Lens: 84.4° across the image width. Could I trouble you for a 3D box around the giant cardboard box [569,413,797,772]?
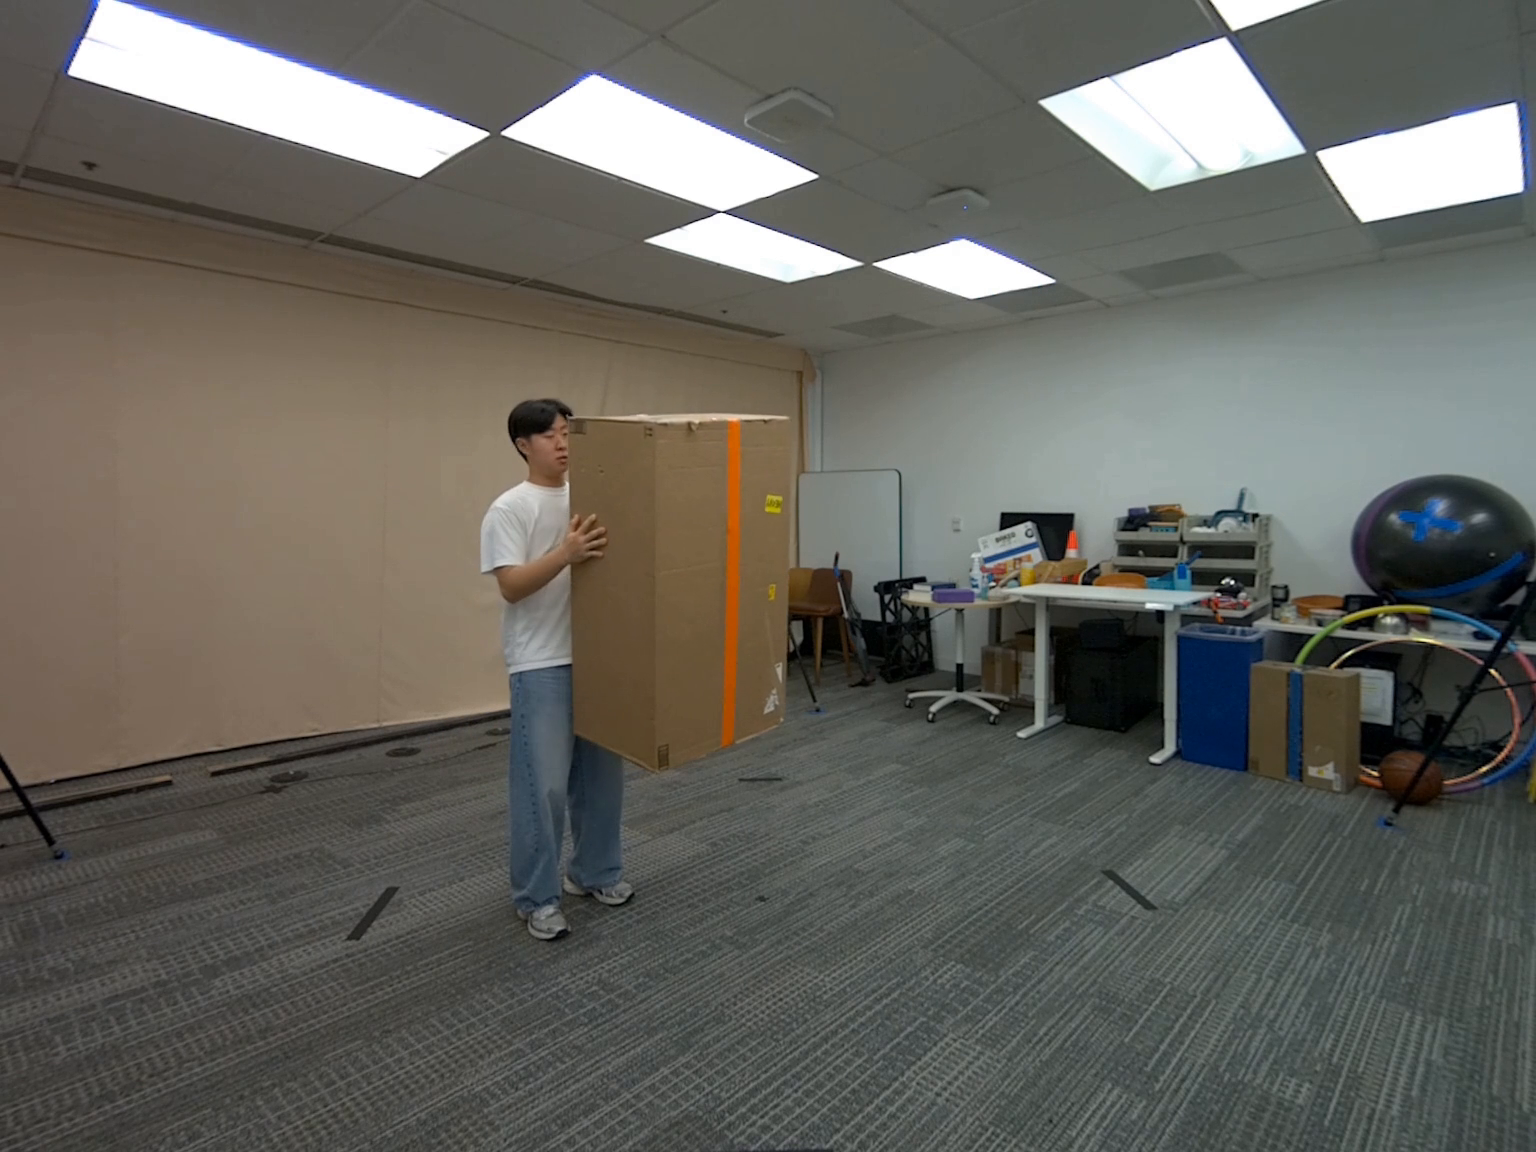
[{"bbox_3d":[-0.276,0.012,2.688,0.441,1.019,0.561,11,15,42],"label":"giant cardboard box"}]
